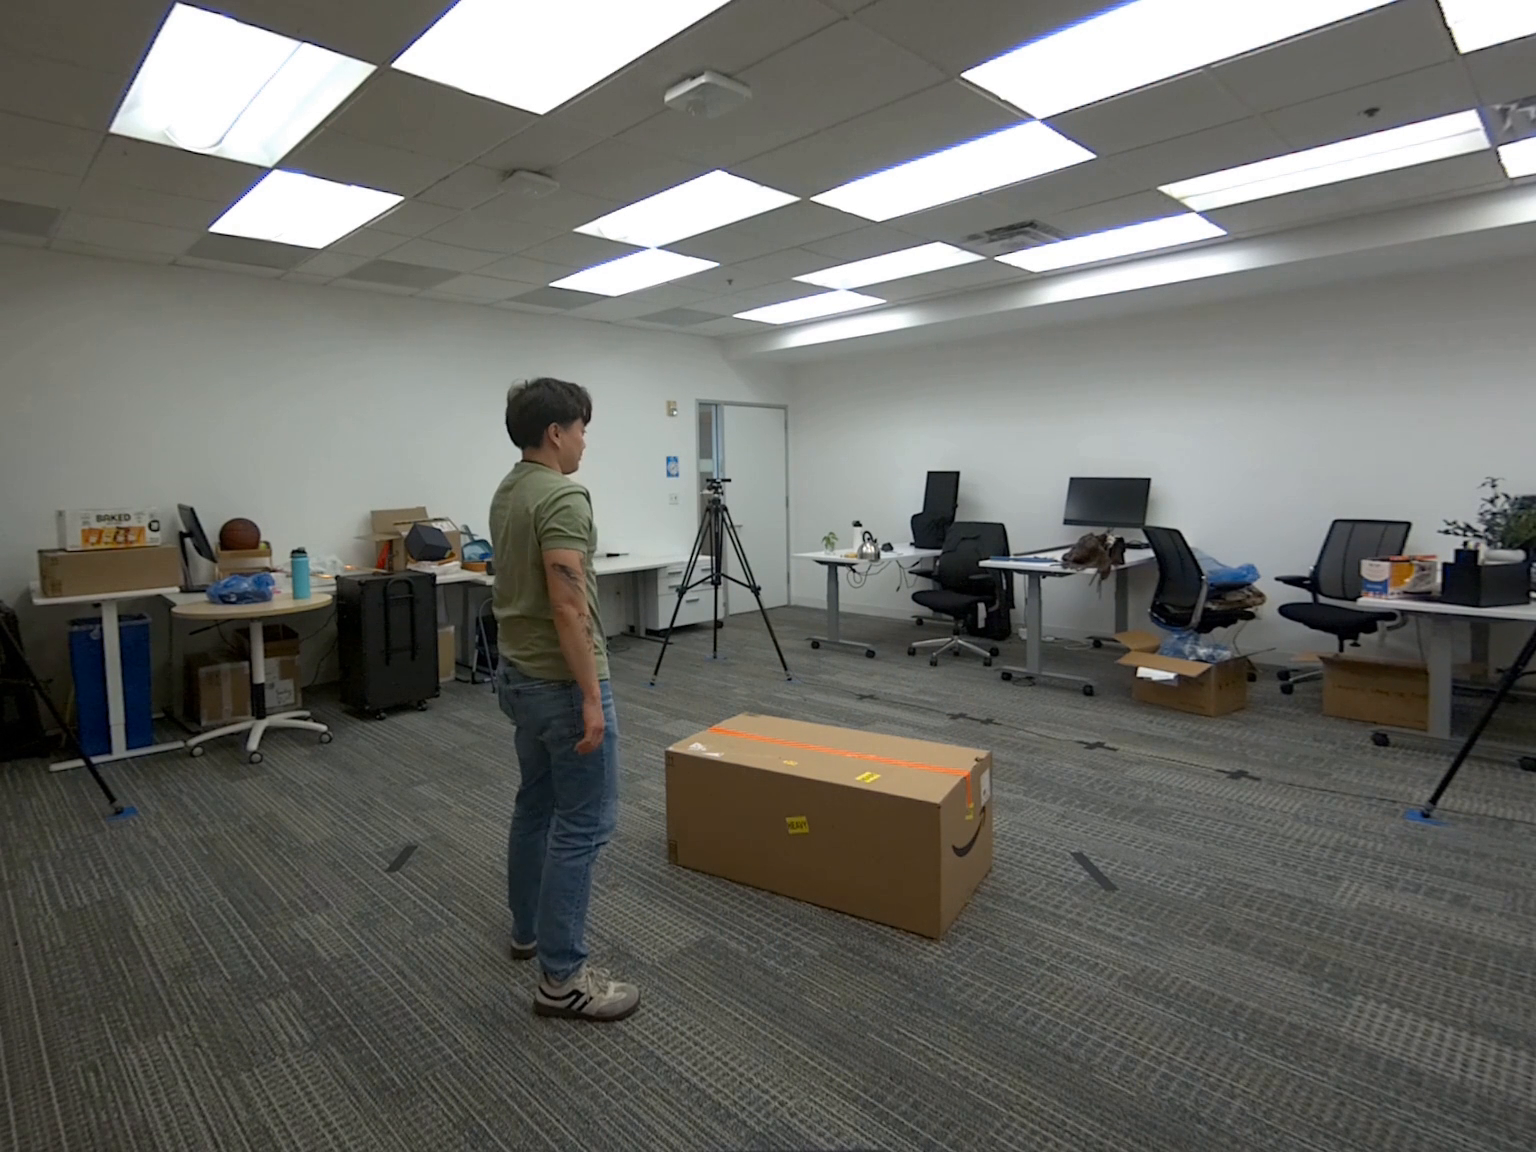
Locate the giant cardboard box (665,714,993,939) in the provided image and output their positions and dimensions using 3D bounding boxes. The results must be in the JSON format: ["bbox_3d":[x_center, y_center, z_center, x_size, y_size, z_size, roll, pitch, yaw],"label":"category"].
[{"bbox_3d":[0.213,0.829,3.065,1.054,0.424,0.565,3,7,32],"label":"giant cardboard box"}]
